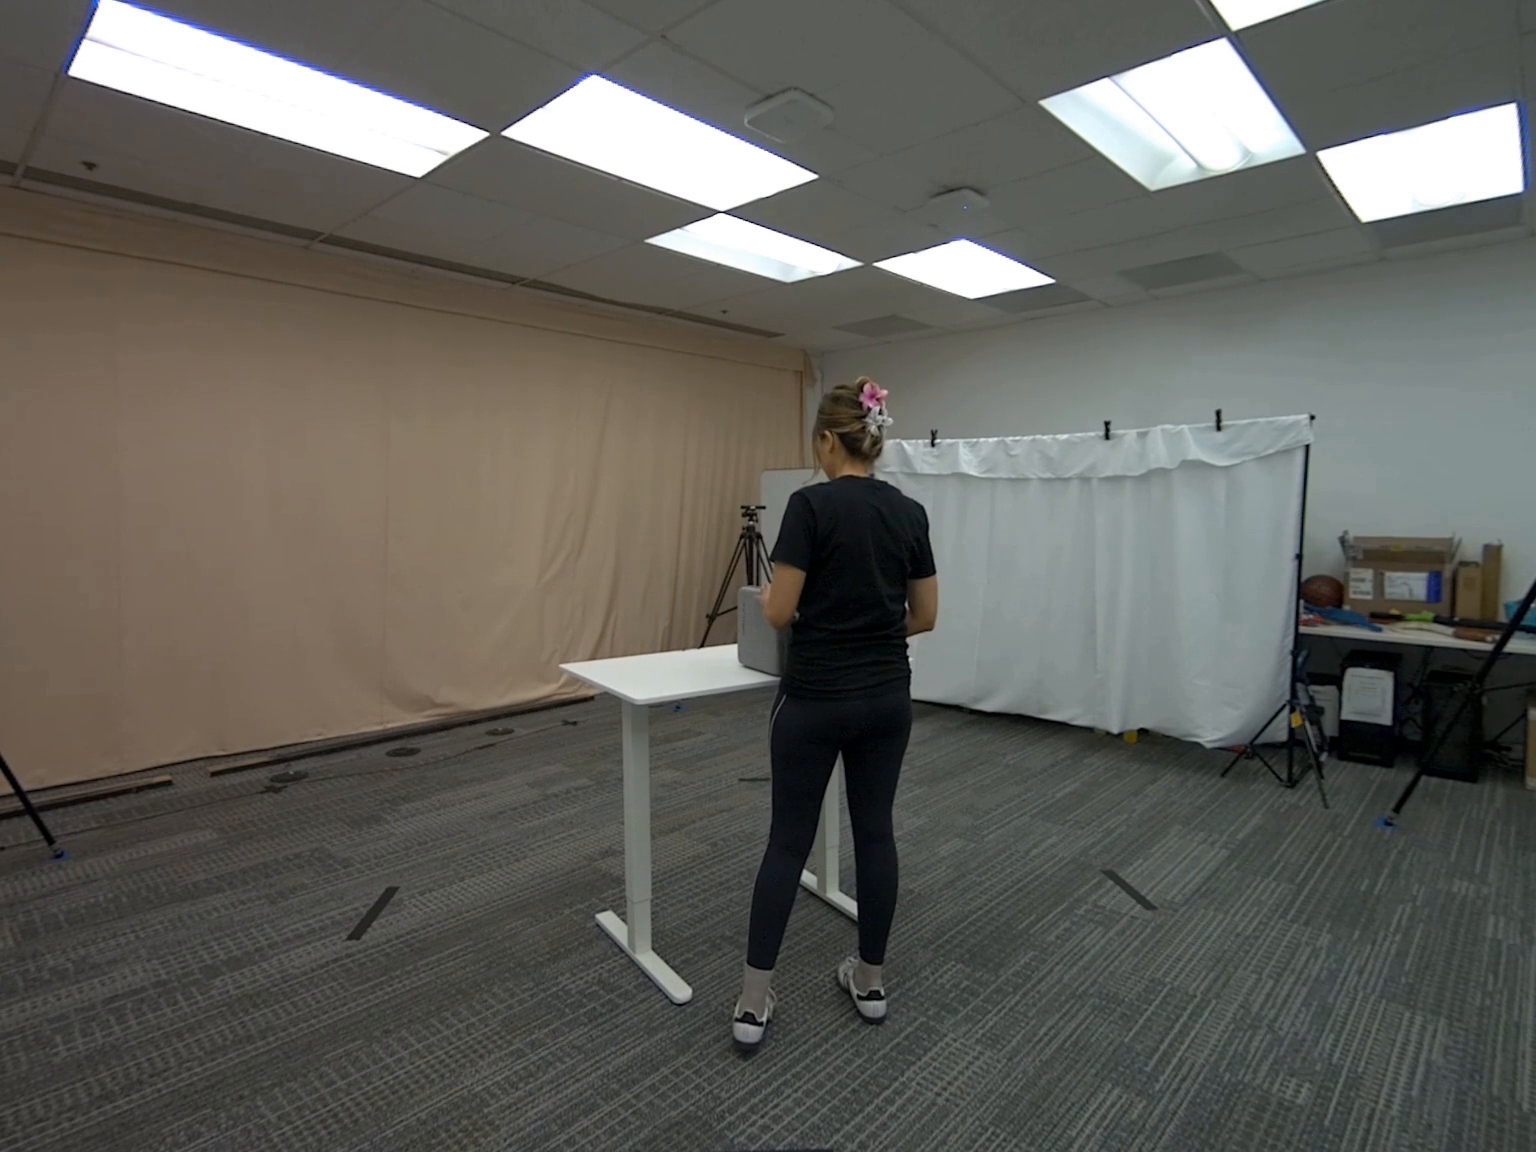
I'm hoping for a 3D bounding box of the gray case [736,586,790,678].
[{"bbox_3d":[0.011,0.161,2.590,0.101,0.256,0.268,-2,4,-31],"label":"gray case"}]
